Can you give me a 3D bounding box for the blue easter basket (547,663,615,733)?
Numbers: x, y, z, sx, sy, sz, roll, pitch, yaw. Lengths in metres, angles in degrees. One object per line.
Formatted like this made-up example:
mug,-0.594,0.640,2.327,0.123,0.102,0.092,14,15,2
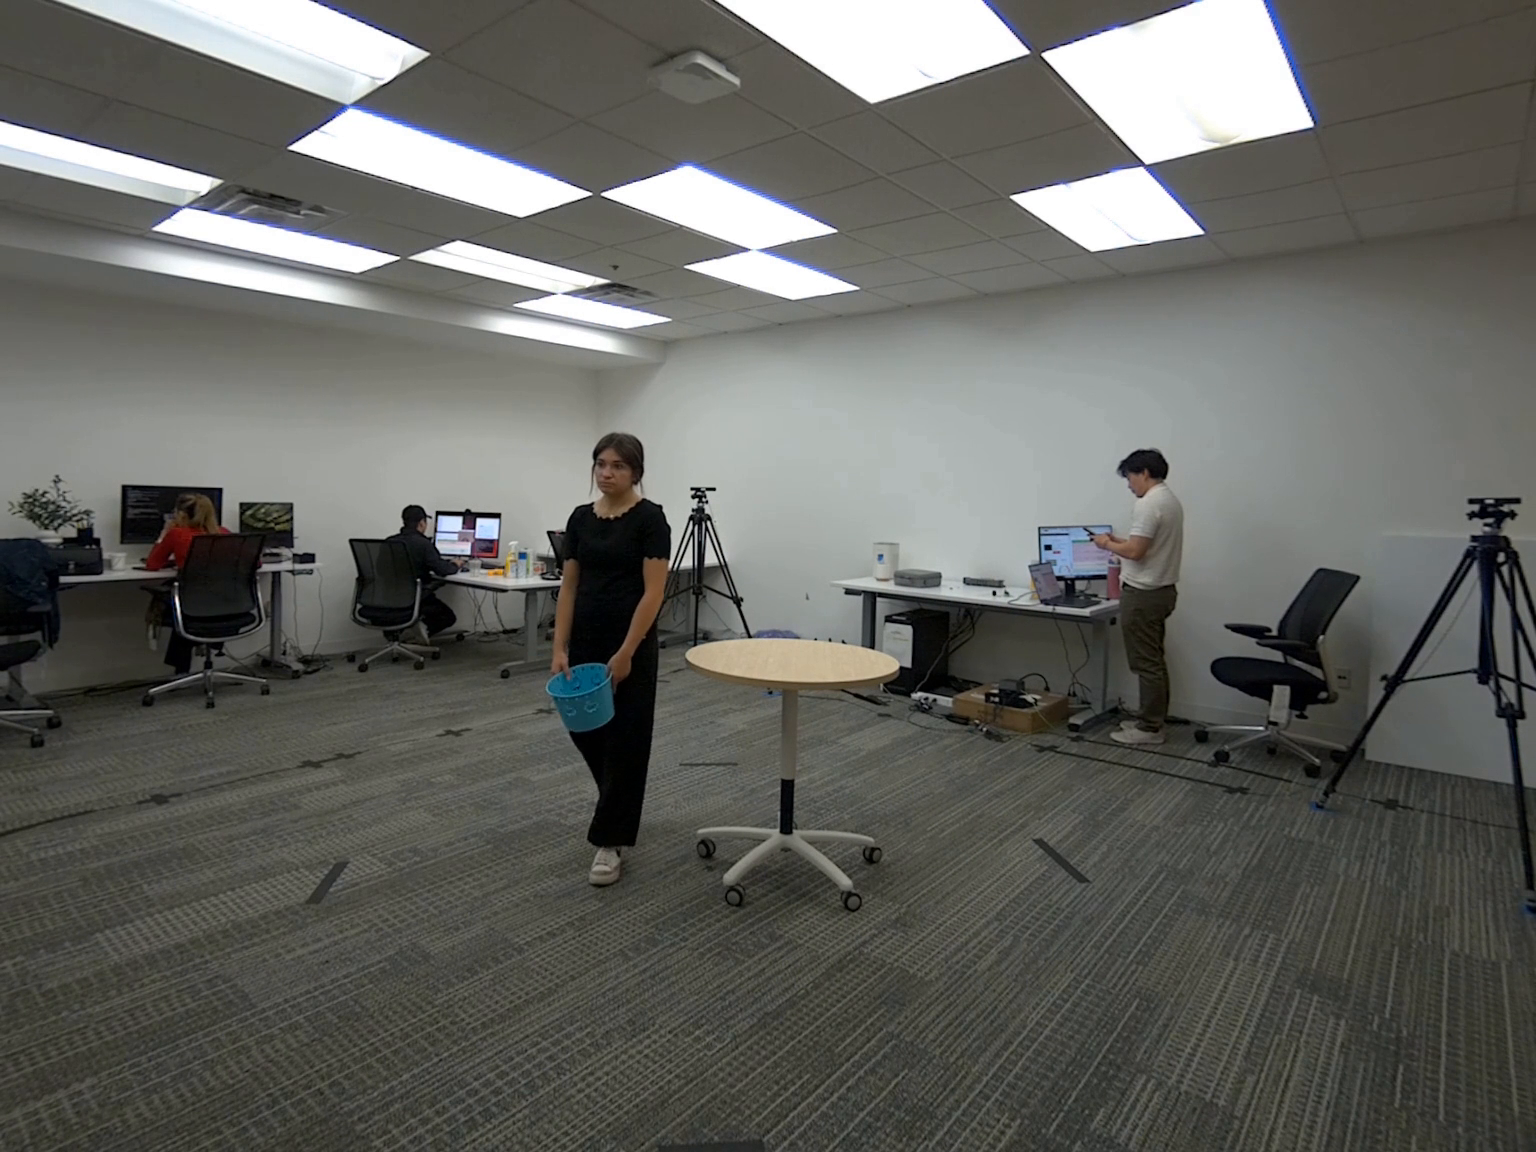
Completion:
blue easter basket,-0.658,0.418,2.970,0.244,0.153,0.248,-9,19,1
